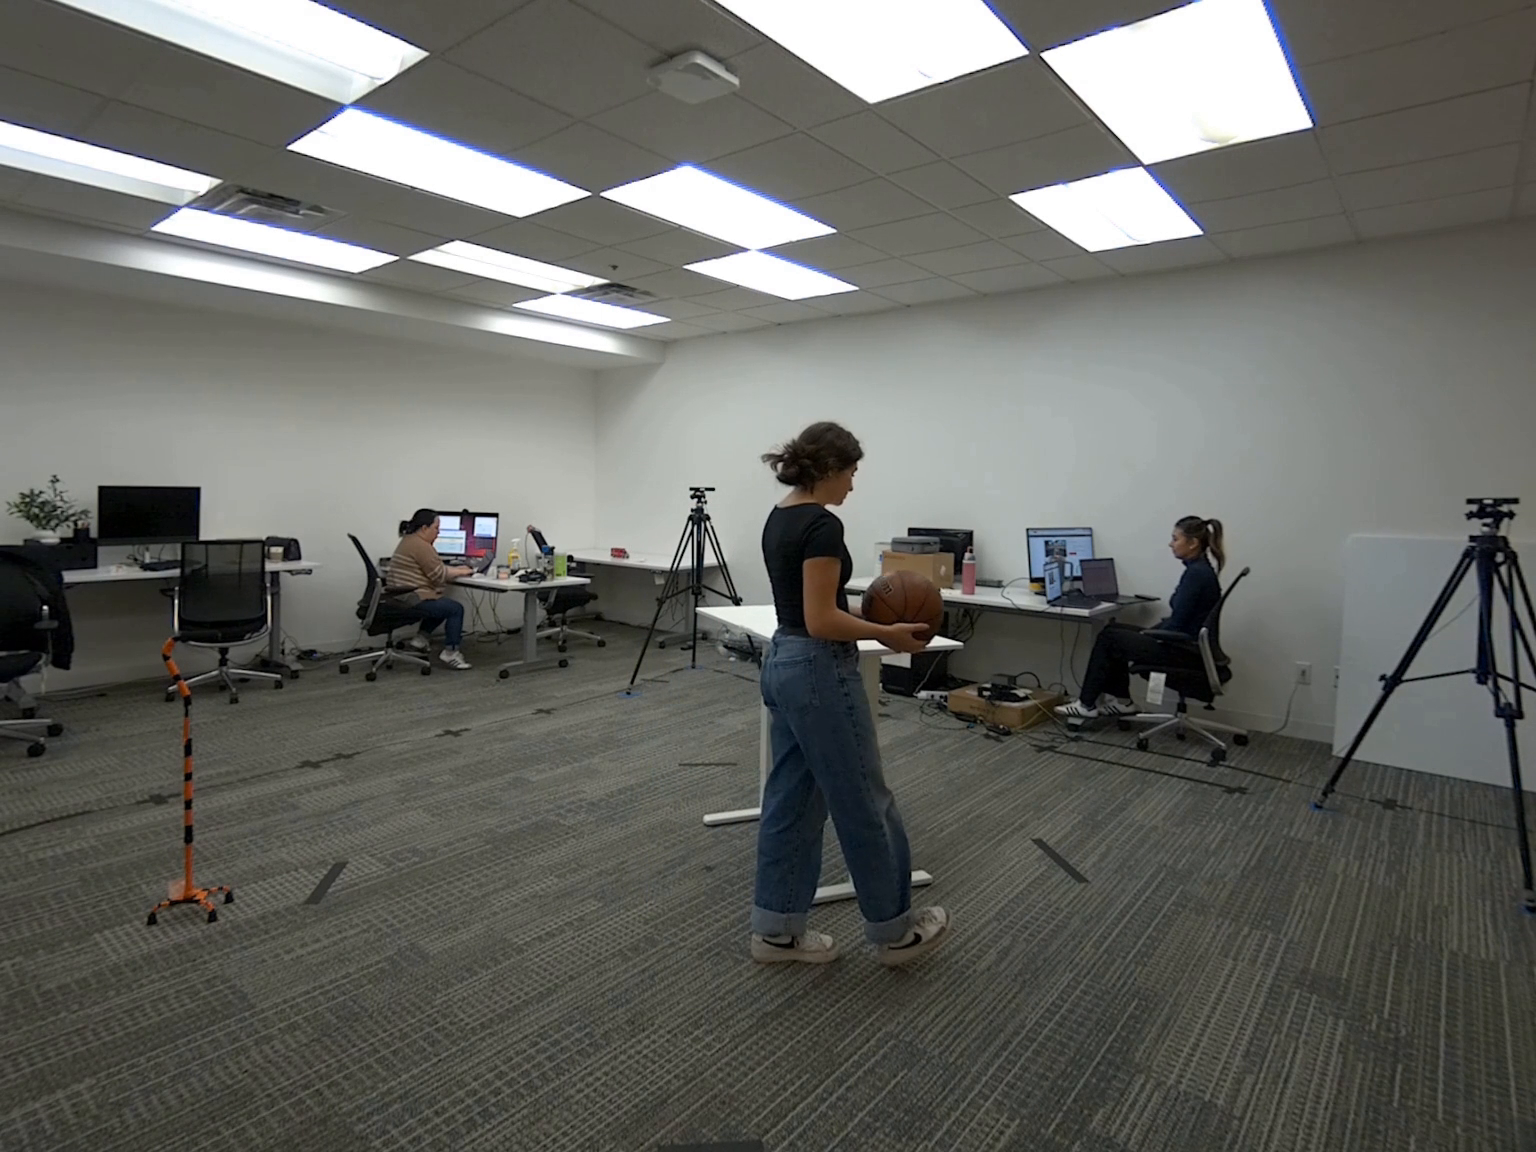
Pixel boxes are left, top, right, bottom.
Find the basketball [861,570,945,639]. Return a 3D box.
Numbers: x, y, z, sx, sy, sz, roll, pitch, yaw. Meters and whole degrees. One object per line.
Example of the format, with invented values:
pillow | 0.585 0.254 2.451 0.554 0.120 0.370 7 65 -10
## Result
basketball | 0.391 0.099 2.500 0.235 0.235 0.237 1 4 -2
